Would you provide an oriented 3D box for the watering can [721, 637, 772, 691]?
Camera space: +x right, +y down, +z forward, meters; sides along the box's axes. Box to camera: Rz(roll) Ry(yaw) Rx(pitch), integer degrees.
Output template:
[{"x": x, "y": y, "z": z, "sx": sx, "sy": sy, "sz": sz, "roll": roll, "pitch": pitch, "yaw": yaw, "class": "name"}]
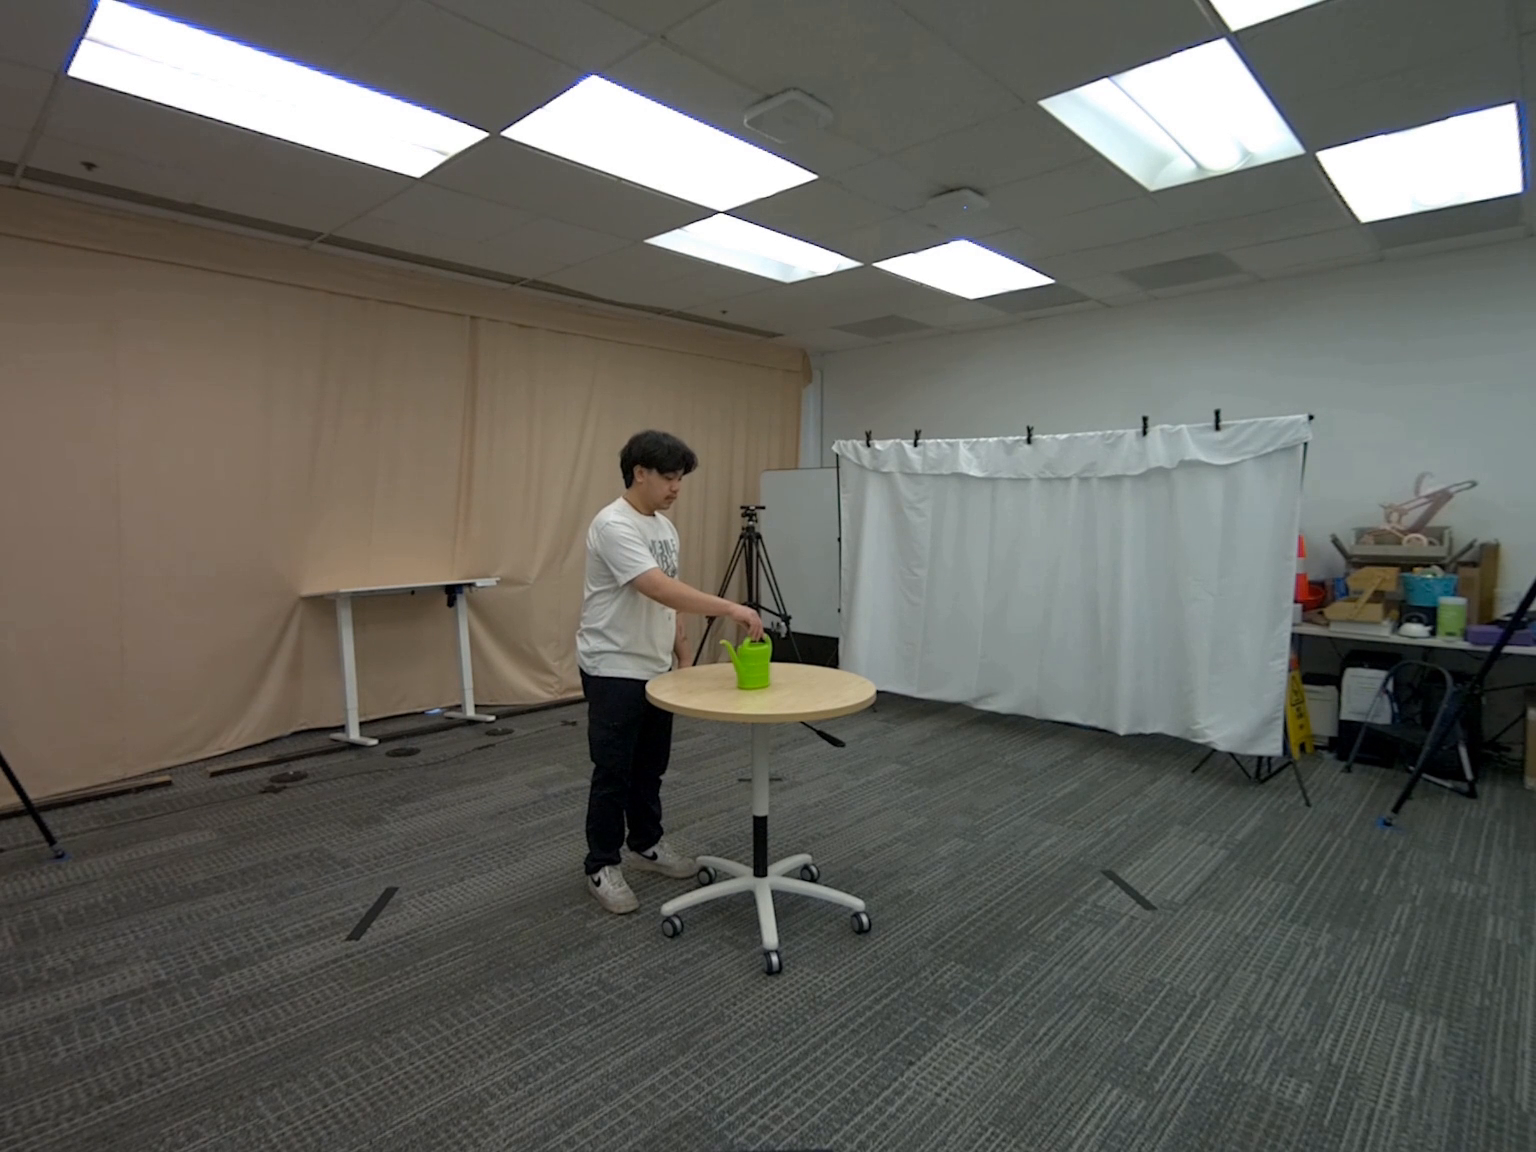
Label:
[{"x": -0.075, "y": 0.284, "z": 2.764, "sx": 0.270, "sy": 0.176, "sz": 0.101, "roll": -3, "pitch": 3, "yaw": -42, "class": "watering can"}]
